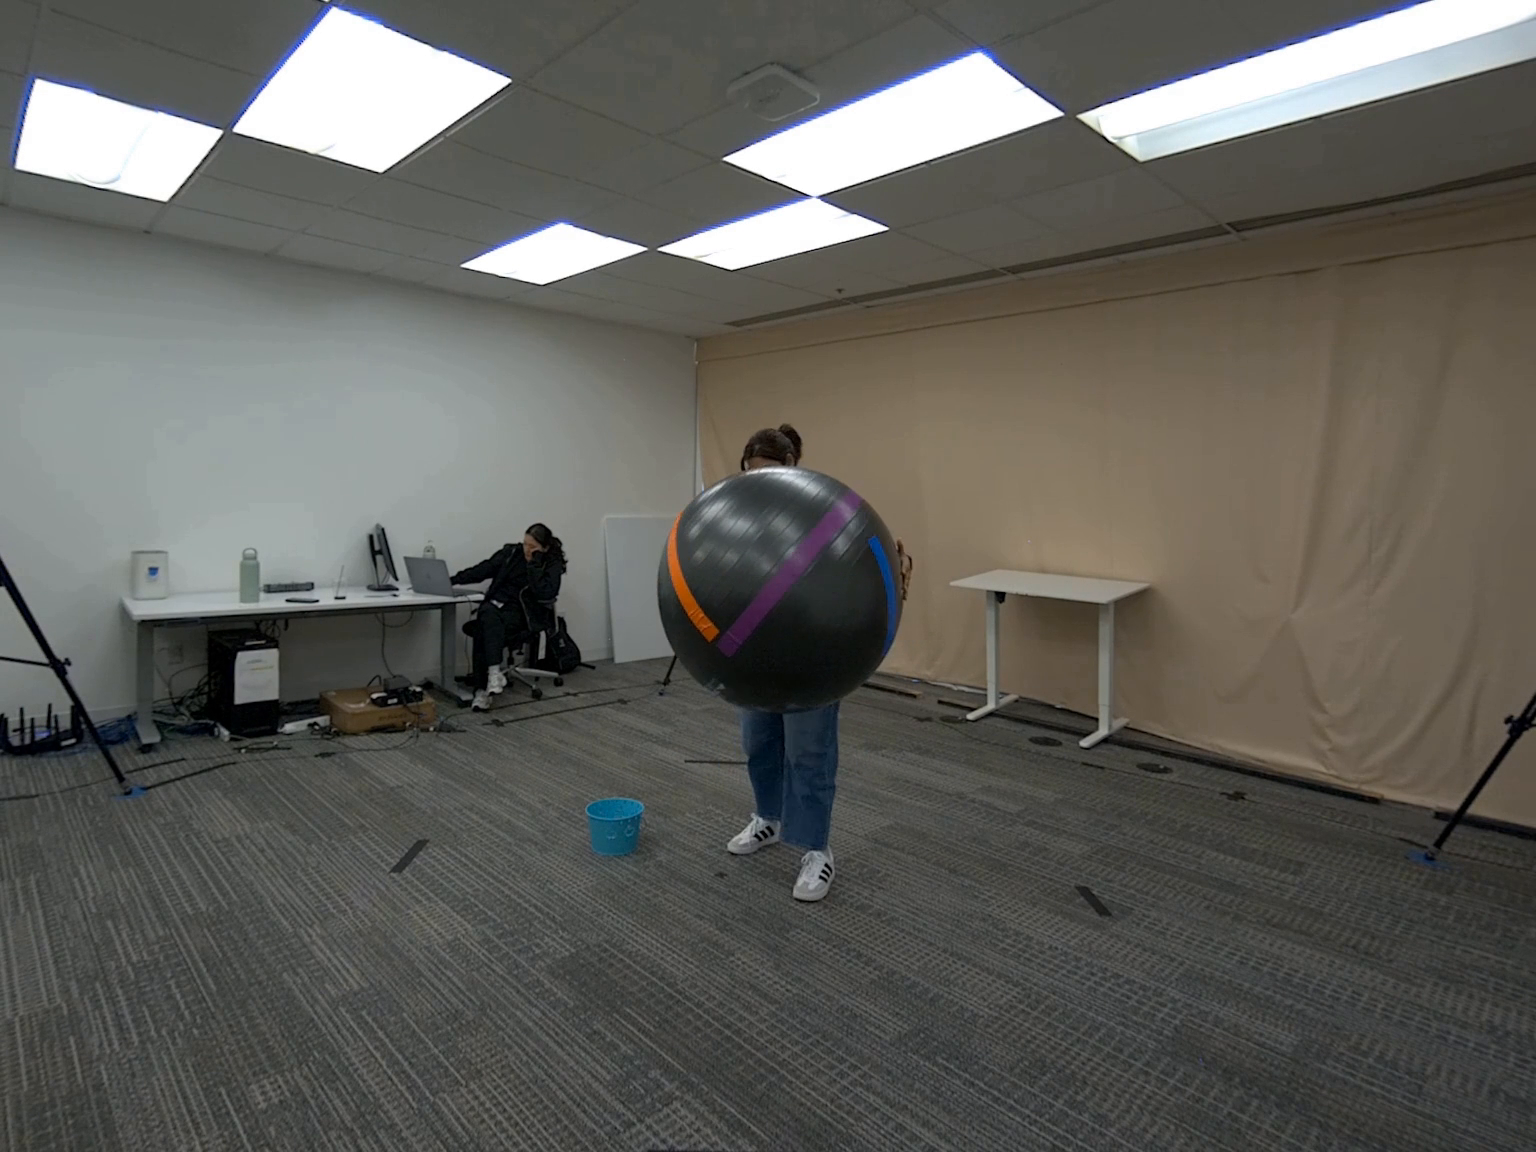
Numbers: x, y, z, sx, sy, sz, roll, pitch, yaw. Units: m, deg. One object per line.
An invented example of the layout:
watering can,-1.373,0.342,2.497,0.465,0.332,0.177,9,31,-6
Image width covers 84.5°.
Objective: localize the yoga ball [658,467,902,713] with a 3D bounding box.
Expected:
yoga ball,0.032,0.045,2.602,0.757,0.756,0.761,1,4,-1
